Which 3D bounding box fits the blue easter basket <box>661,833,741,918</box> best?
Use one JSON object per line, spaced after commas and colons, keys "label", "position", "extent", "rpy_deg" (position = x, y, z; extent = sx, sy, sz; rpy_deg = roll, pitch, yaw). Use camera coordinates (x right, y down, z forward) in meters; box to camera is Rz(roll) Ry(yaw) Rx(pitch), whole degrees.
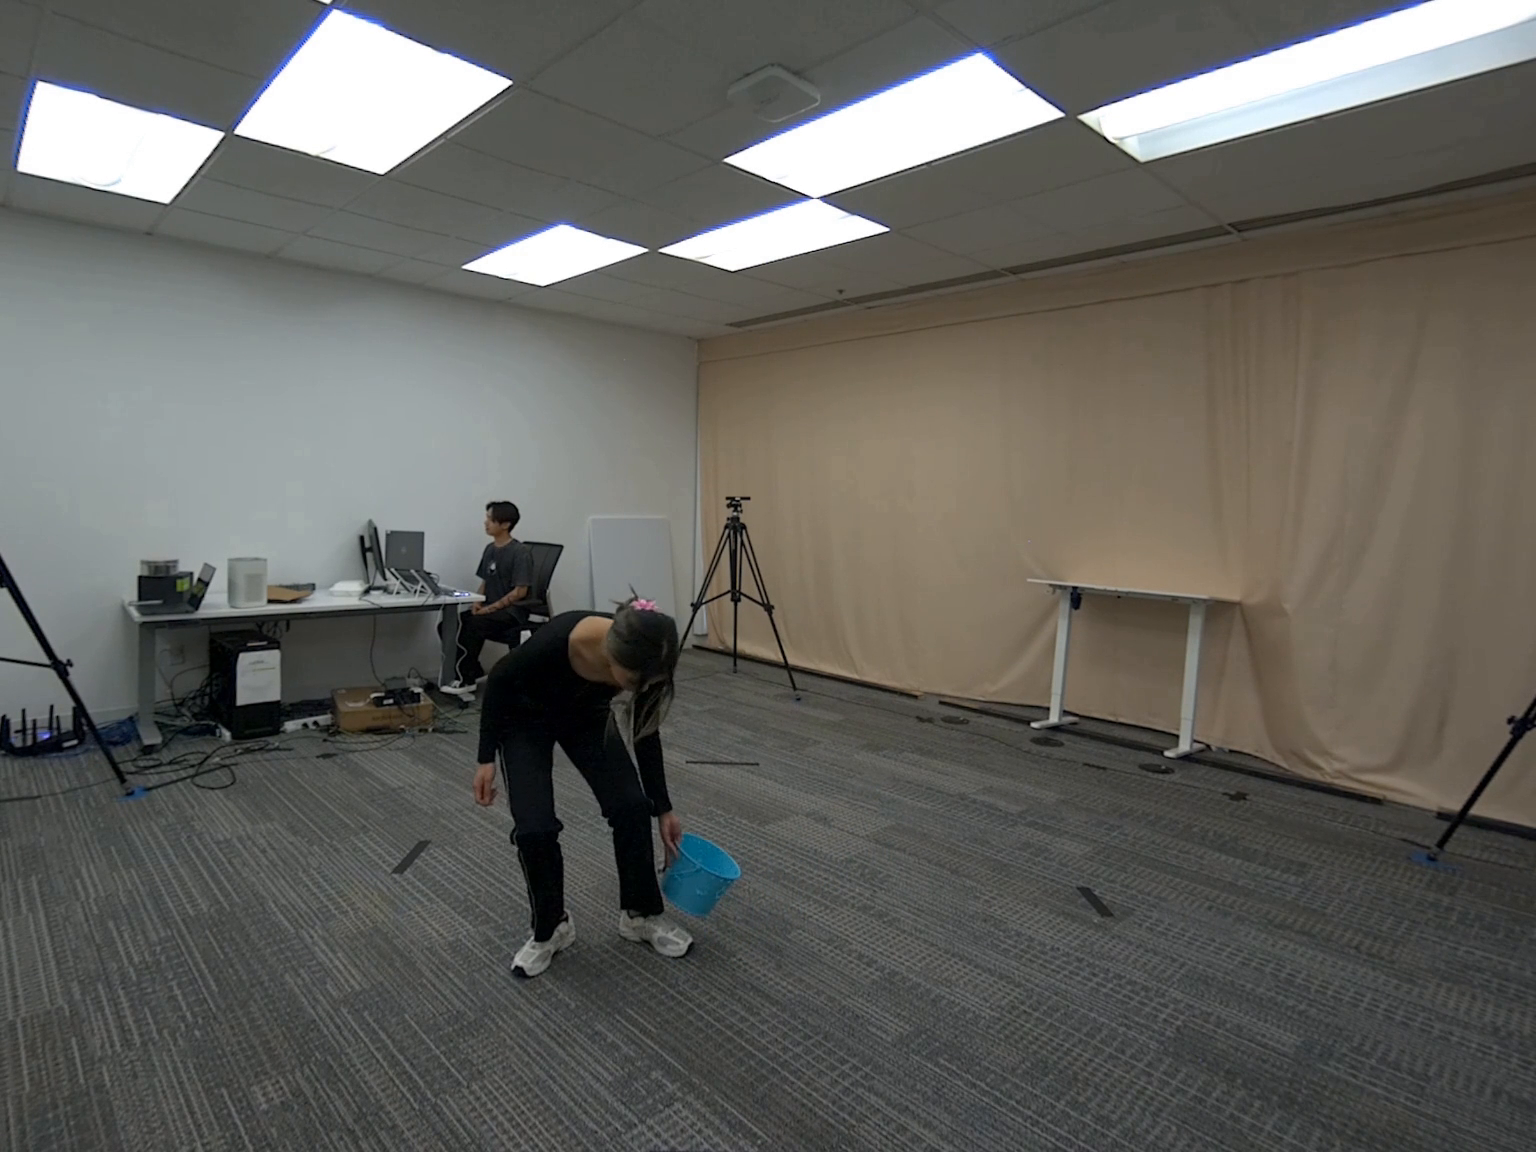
{"label": "blue easter basket", "position": [-0.230, 0.955, 2.639], "extent": [0.243, 0.156, 0.244], "rpy_deg": [28, 1, -2]}
